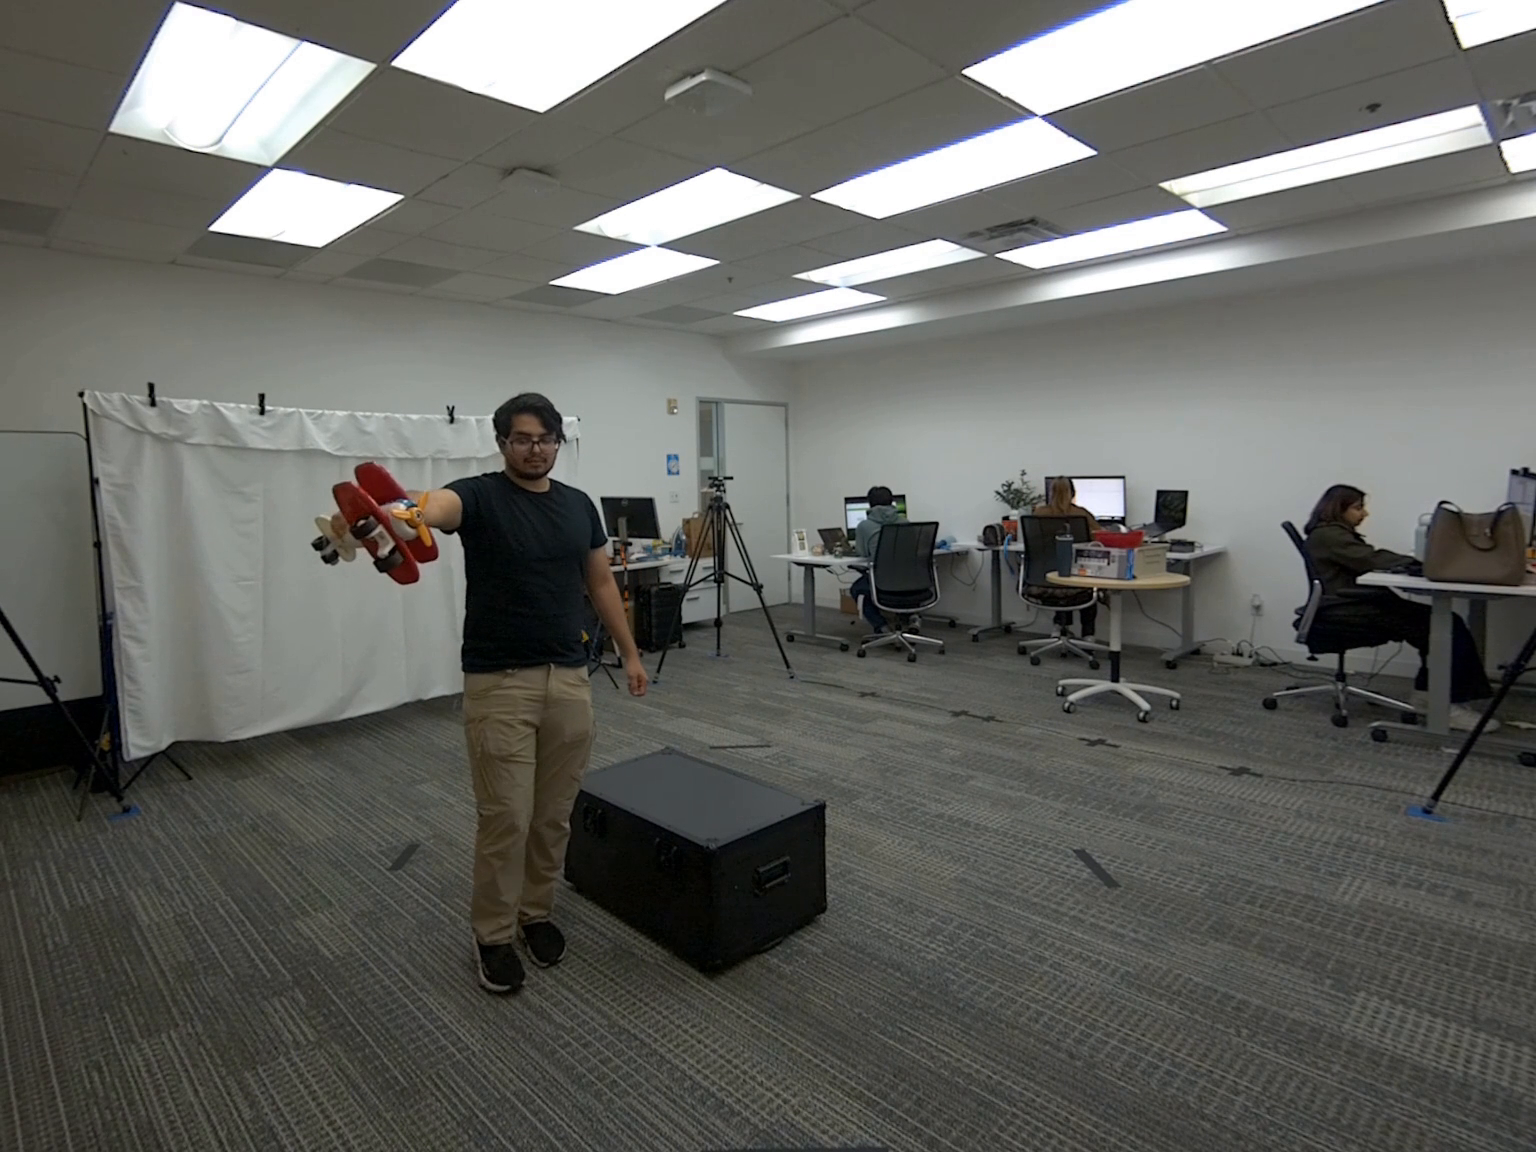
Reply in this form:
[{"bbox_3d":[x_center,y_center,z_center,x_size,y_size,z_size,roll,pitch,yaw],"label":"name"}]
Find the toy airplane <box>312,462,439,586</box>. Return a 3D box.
[{"bbox_3d":[-0.852,-0.103,1.773,0.265,0.245,0.157,21,45,16],"label":"toy airplane"}]
